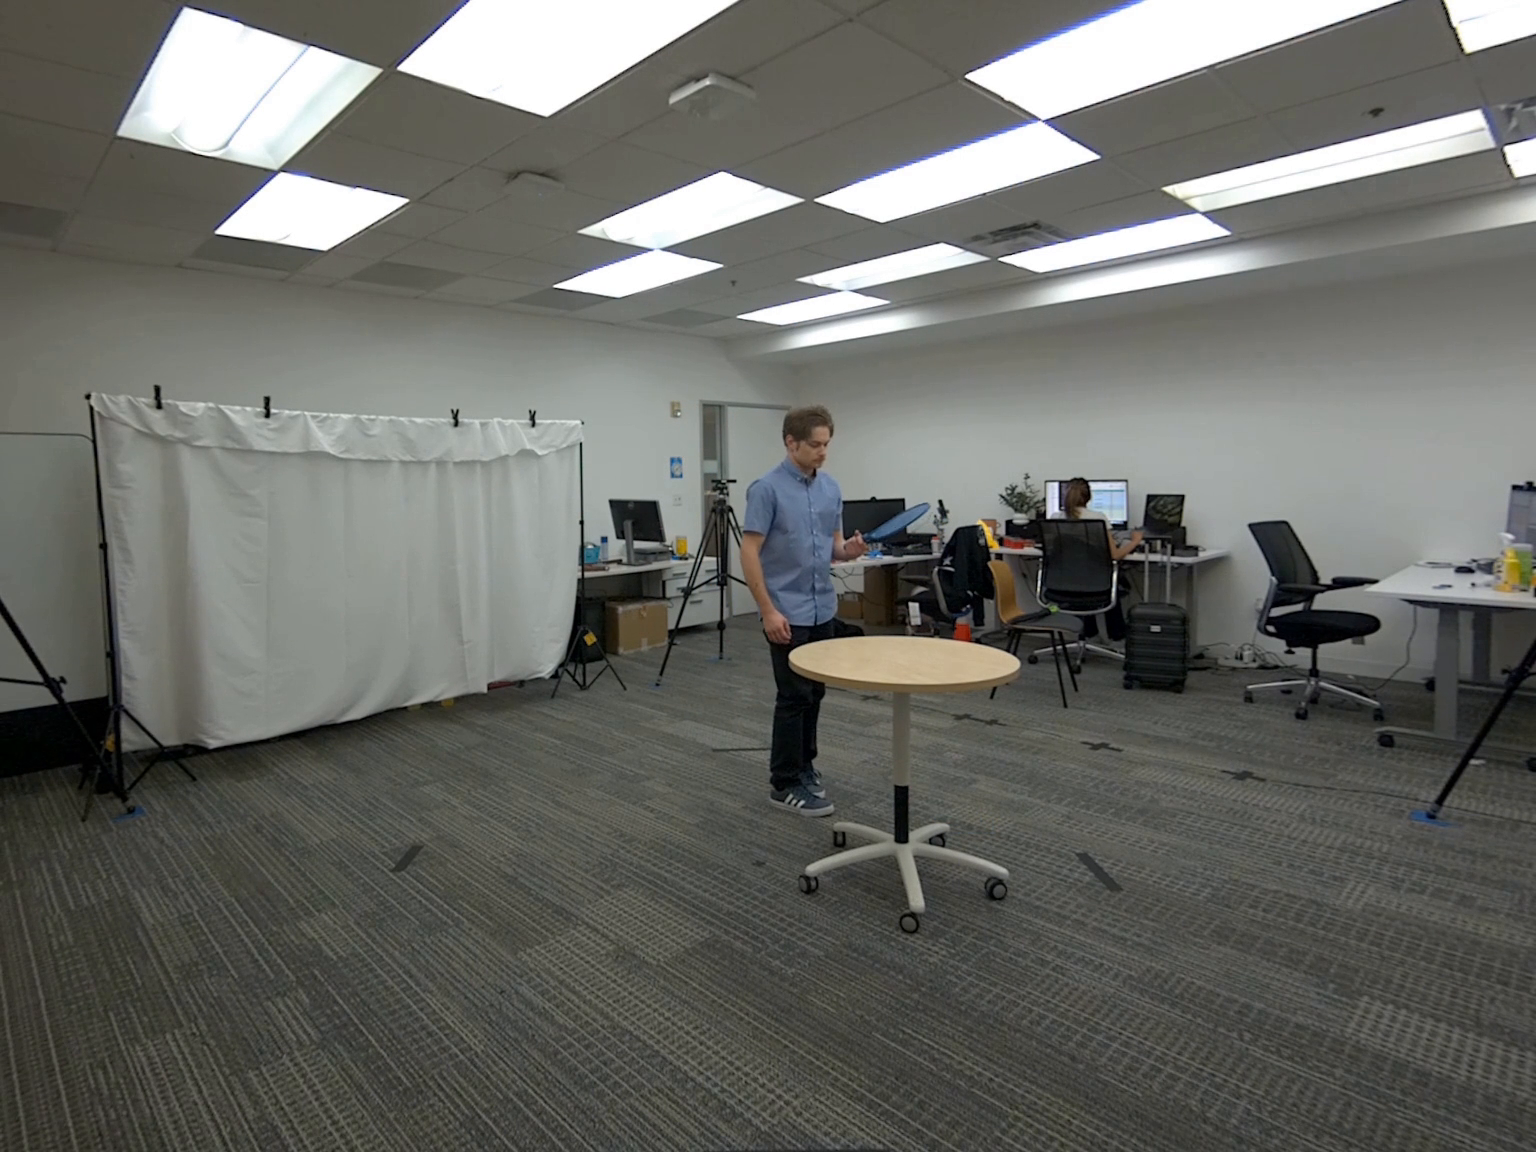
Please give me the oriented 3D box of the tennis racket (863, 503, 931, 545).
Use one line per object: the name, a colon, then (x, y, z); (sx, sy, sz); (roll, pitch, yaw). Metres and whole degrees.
tennis racket: (0.482, -0.184, 3.394); (0.438, 0.031, 0.213); (-27, 15, 43)
